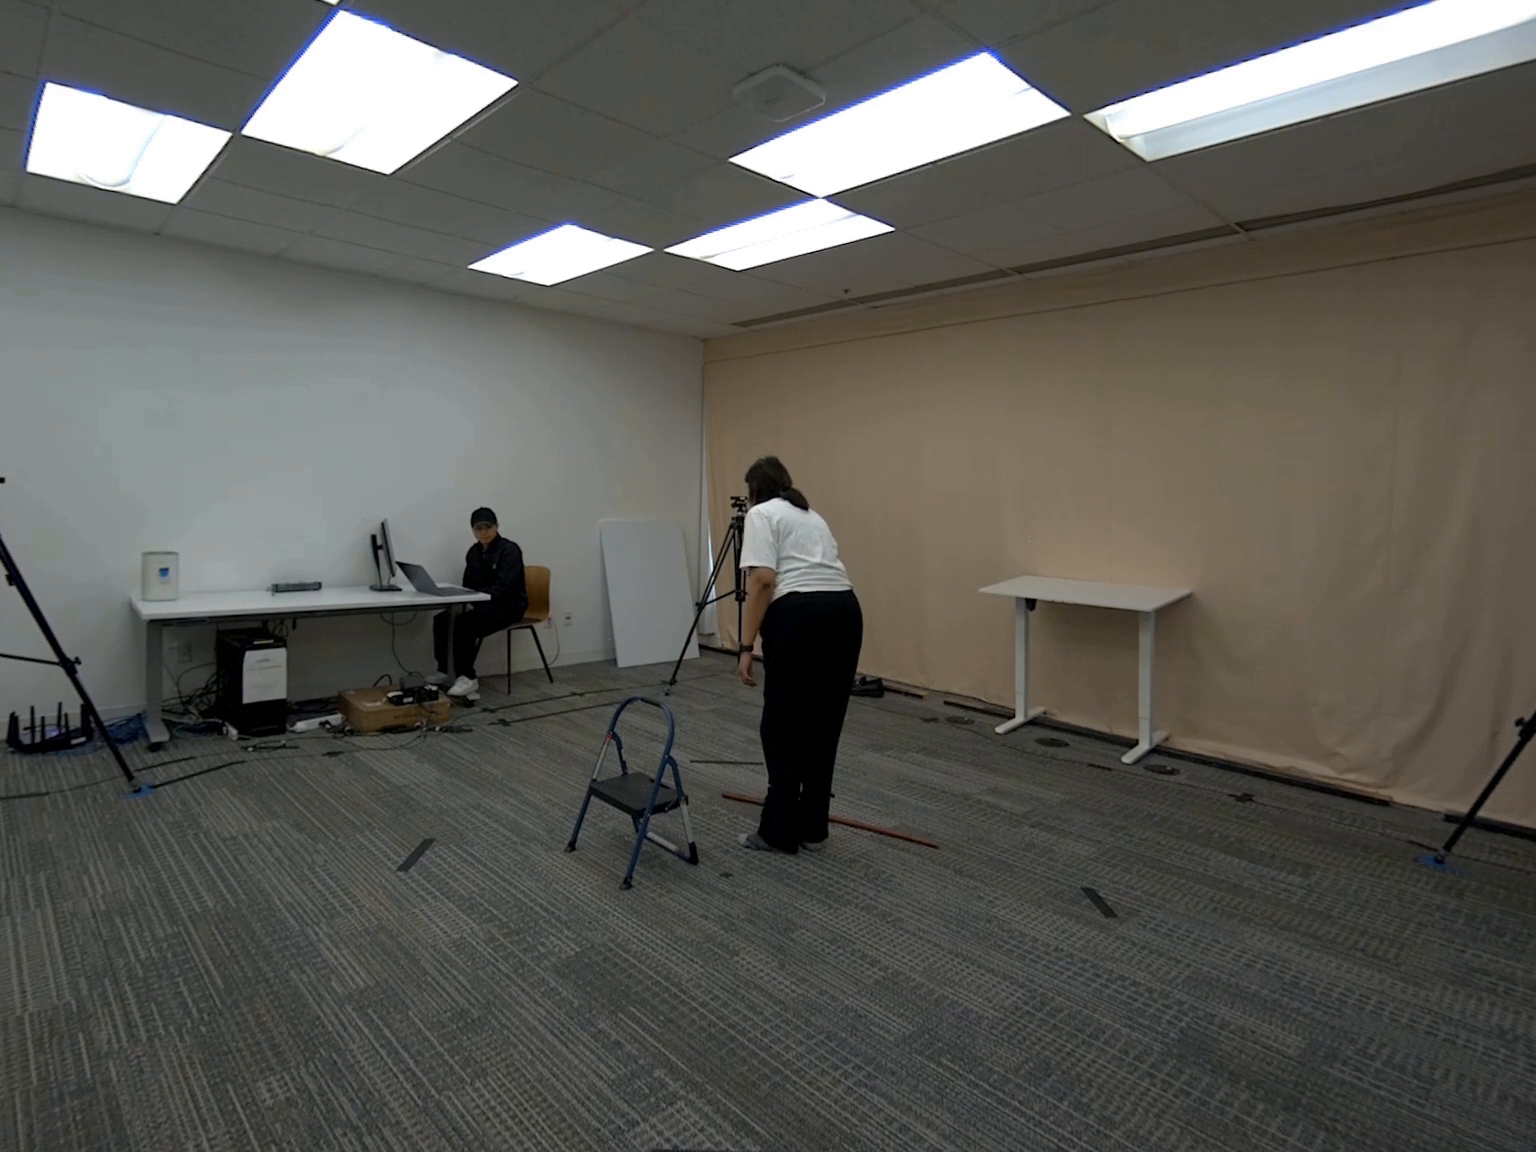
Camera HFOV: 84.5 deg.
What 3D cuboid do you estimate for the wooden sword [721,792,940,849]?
[{"bbox_3d":[0.227,1.038,3.663,1.048,0.024,0.050,4,16,32],"label":"wooden sword"}]
